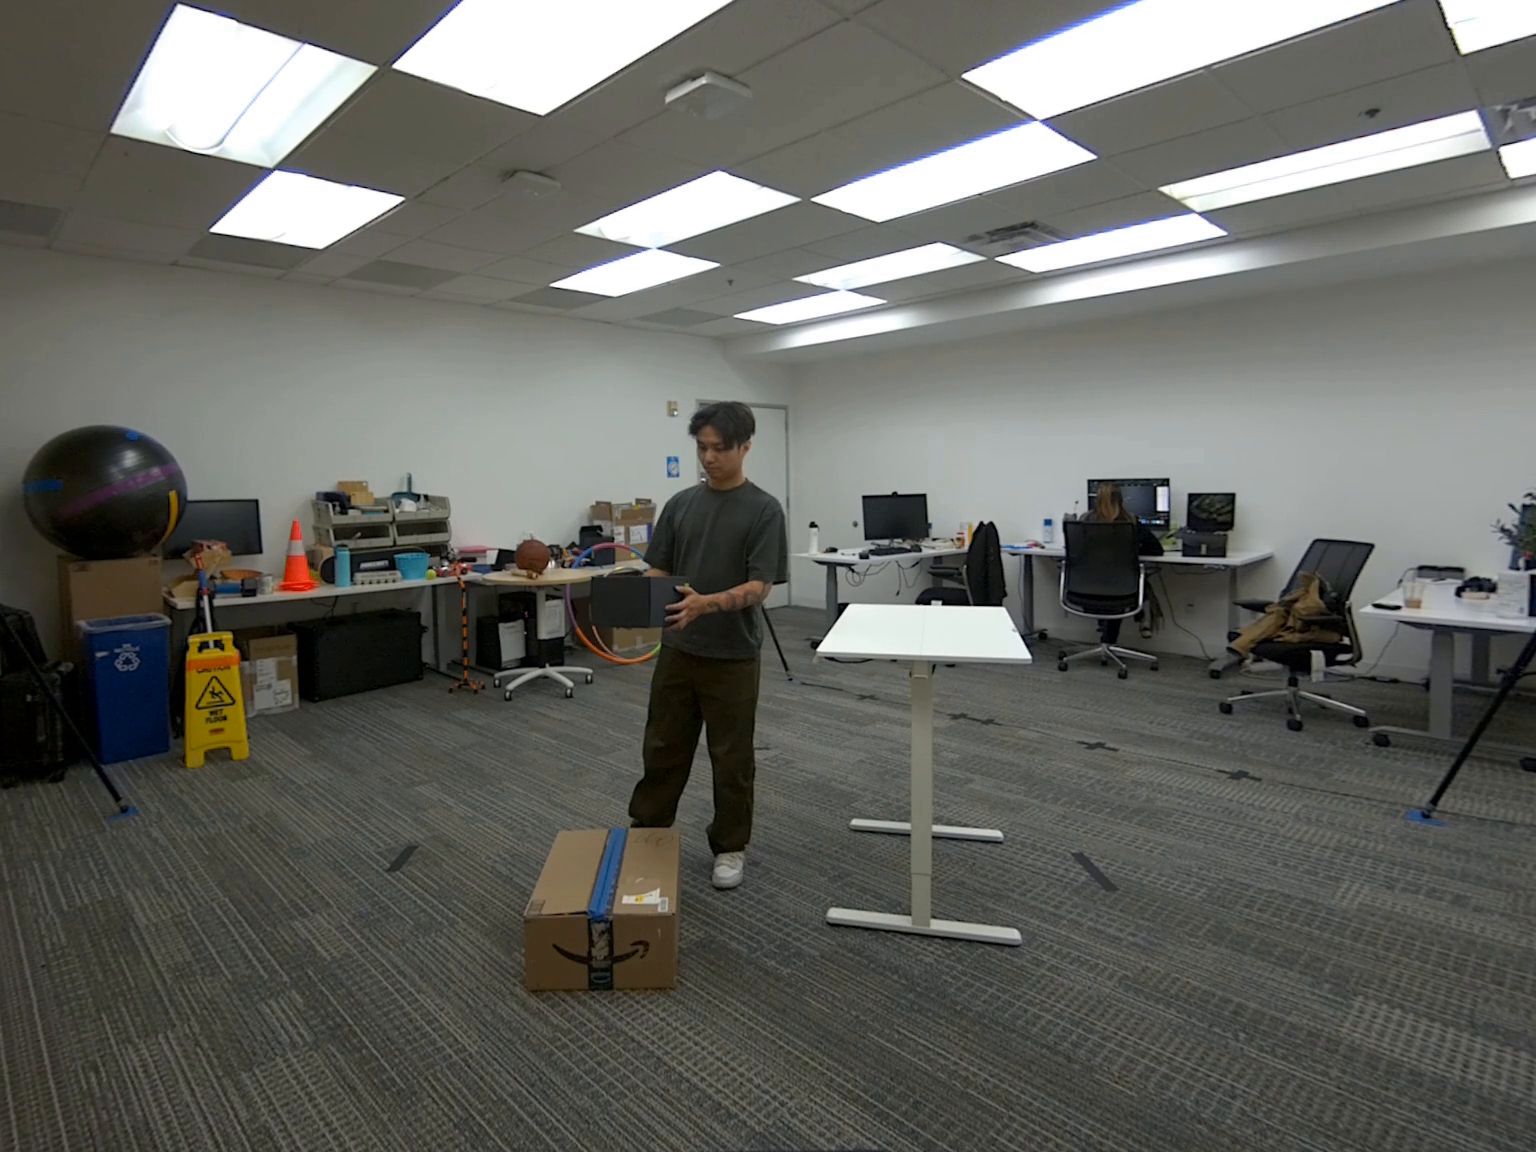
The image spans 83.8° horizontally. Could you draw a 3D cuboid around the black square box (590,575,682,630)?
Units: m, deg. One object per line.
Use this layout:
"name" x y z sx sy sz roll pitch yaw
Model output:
"black square box" -0.412 0.080 2.691 0.233 0.156 0.211 0 -1 28
